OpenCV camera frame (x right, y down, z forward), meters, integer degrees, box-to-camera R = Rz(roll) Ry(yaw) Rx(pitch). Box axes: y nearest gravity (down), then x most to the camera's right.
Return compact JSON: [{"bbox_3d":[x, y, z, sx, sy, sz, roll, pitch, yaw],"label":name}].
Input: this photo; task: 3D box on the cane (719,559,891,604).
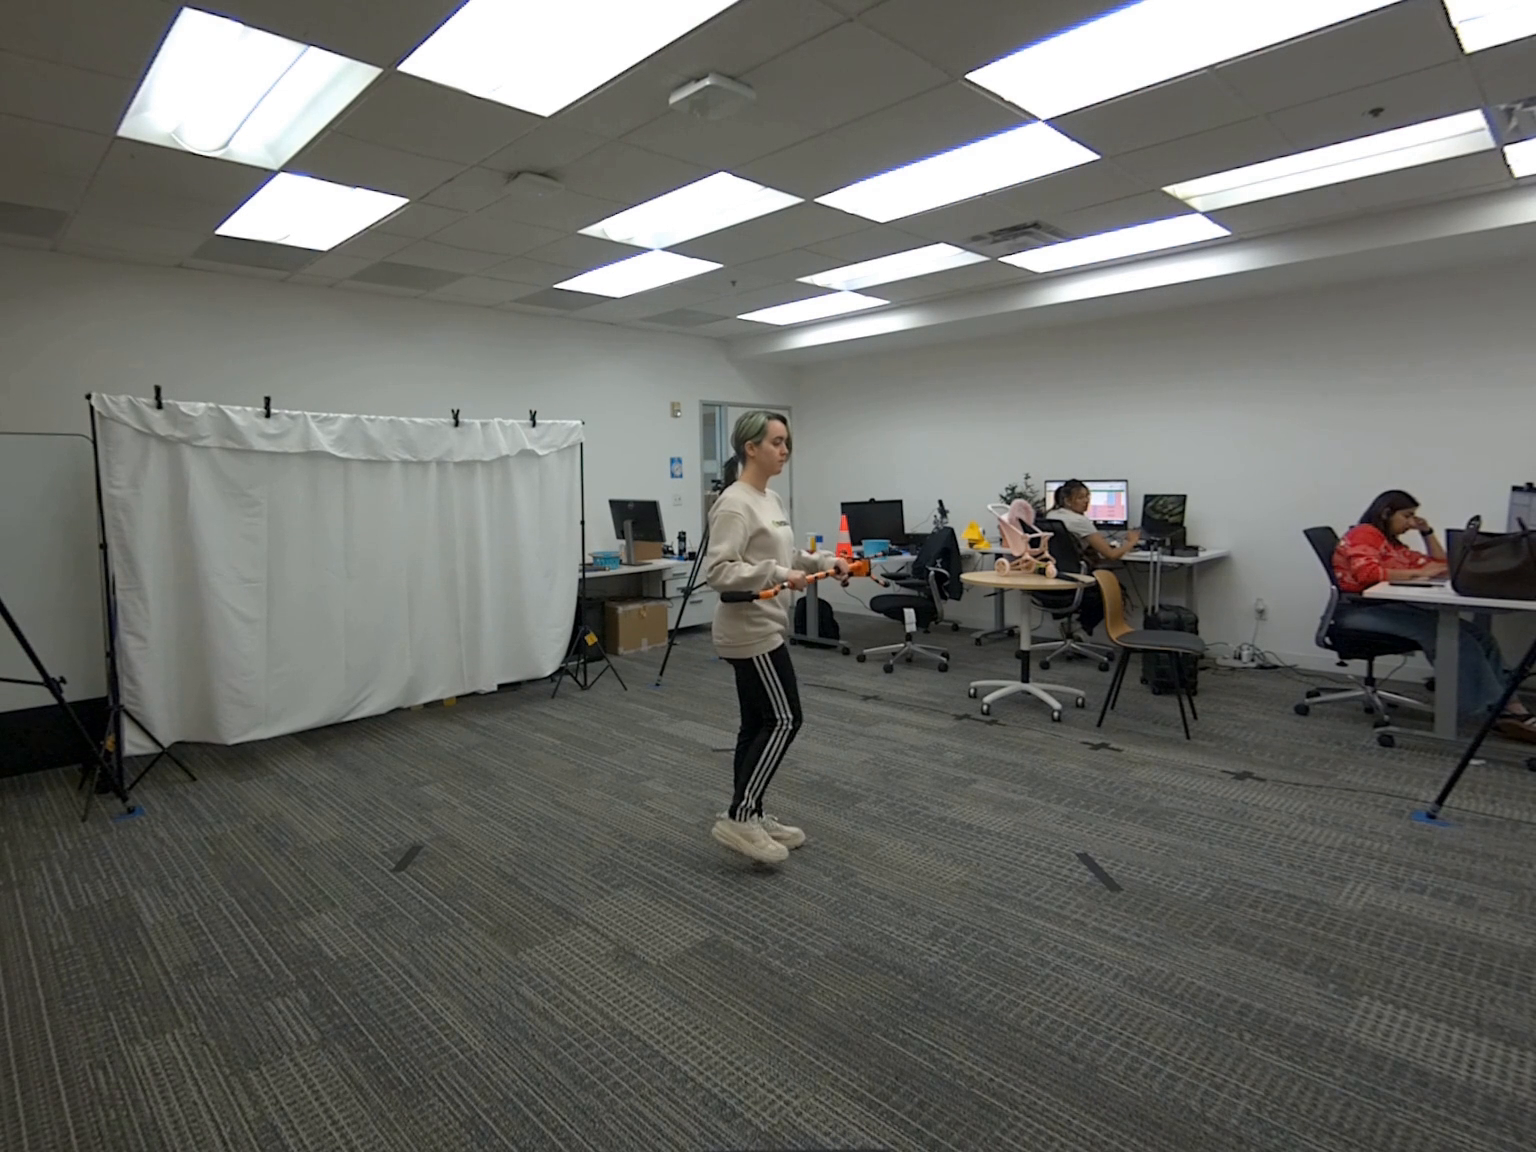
[{"bbox_3d":[0.177,0.026,2.981,0.212,0.151,0.889,0,7,30],"label":"cane"}]
